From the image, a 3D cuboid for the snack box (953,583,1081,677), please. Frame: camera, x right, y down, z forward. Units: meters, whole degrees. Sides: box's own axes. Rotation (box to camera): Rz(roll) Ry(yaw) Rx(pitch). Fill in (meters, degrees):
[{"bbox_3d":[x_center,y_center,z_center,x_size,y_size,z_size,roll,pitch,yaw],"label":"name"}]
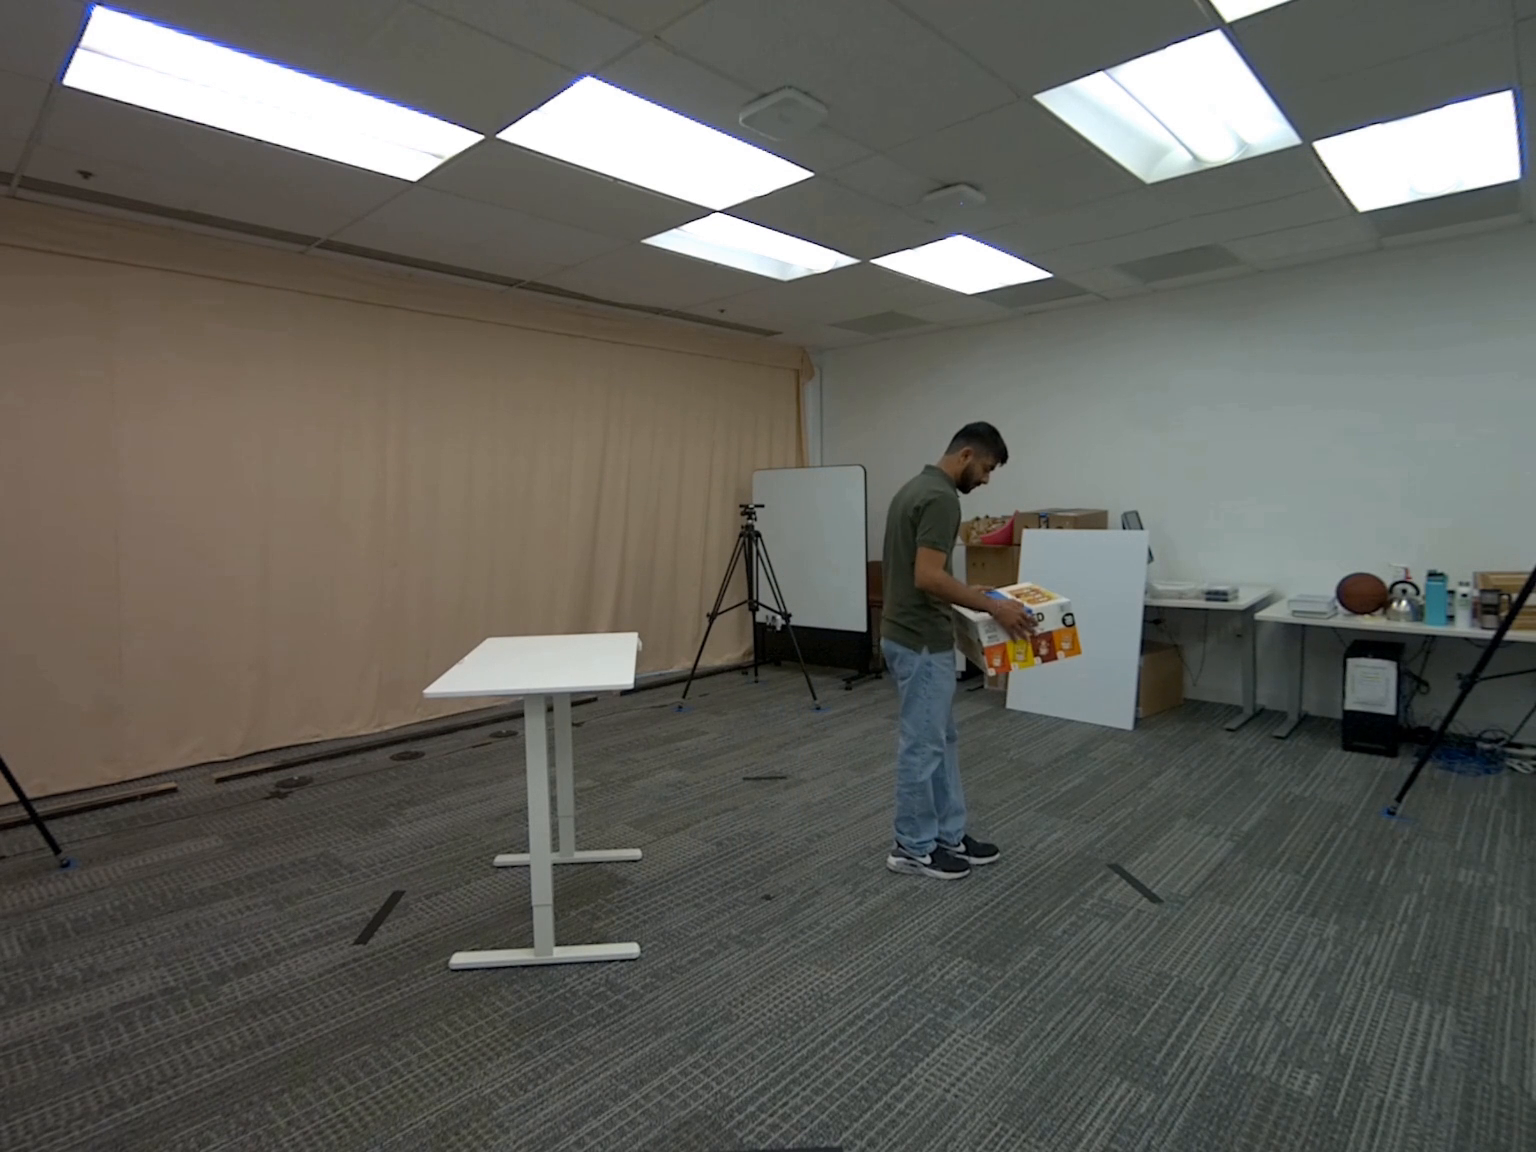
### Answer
[{"bbox_3d":[0.910,0.195,3.168,0.340,0.204,0.407,-13,8,0],"label":"snack box"}]
